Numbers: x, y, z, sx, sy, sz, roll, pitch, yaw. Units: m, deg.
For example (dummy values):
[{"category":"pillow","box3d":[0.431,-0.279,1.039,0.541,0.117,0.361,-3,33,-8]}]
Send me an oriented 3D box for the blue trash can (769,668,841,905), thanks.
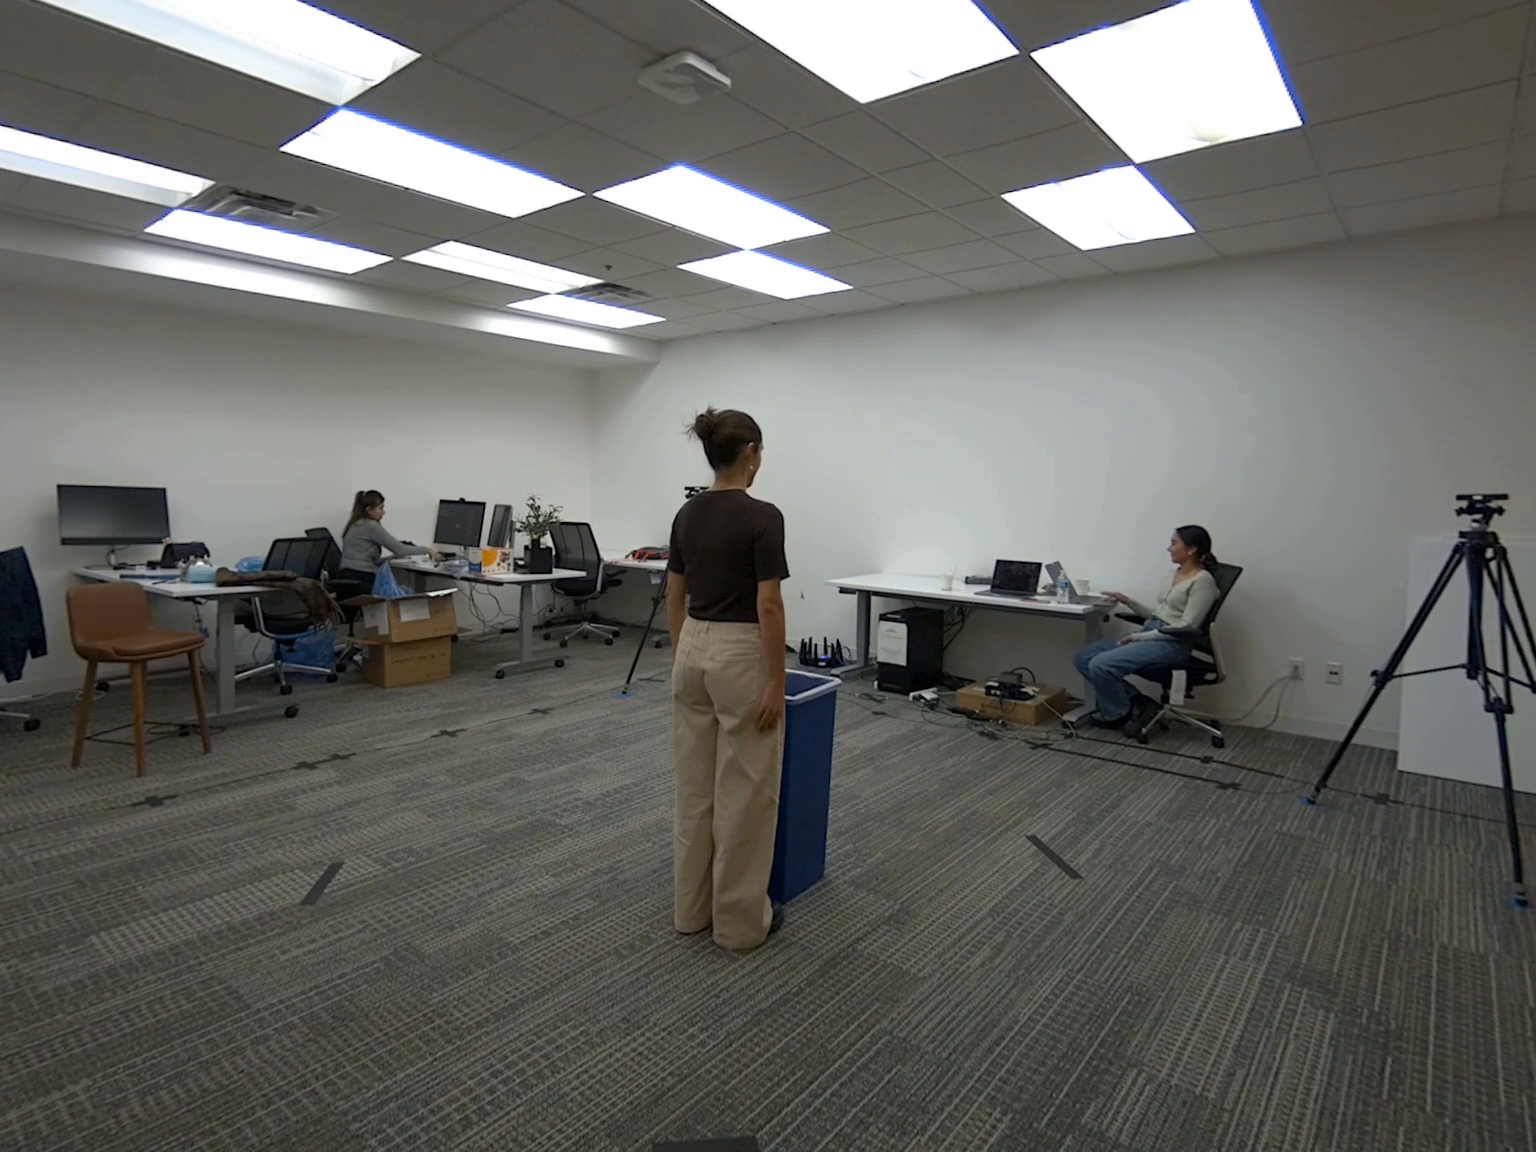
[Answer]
[{"category":"blue trash can","box3d":[0.007,0.720,3.008,0.390,0.711,0.363,4,4,33]}]
